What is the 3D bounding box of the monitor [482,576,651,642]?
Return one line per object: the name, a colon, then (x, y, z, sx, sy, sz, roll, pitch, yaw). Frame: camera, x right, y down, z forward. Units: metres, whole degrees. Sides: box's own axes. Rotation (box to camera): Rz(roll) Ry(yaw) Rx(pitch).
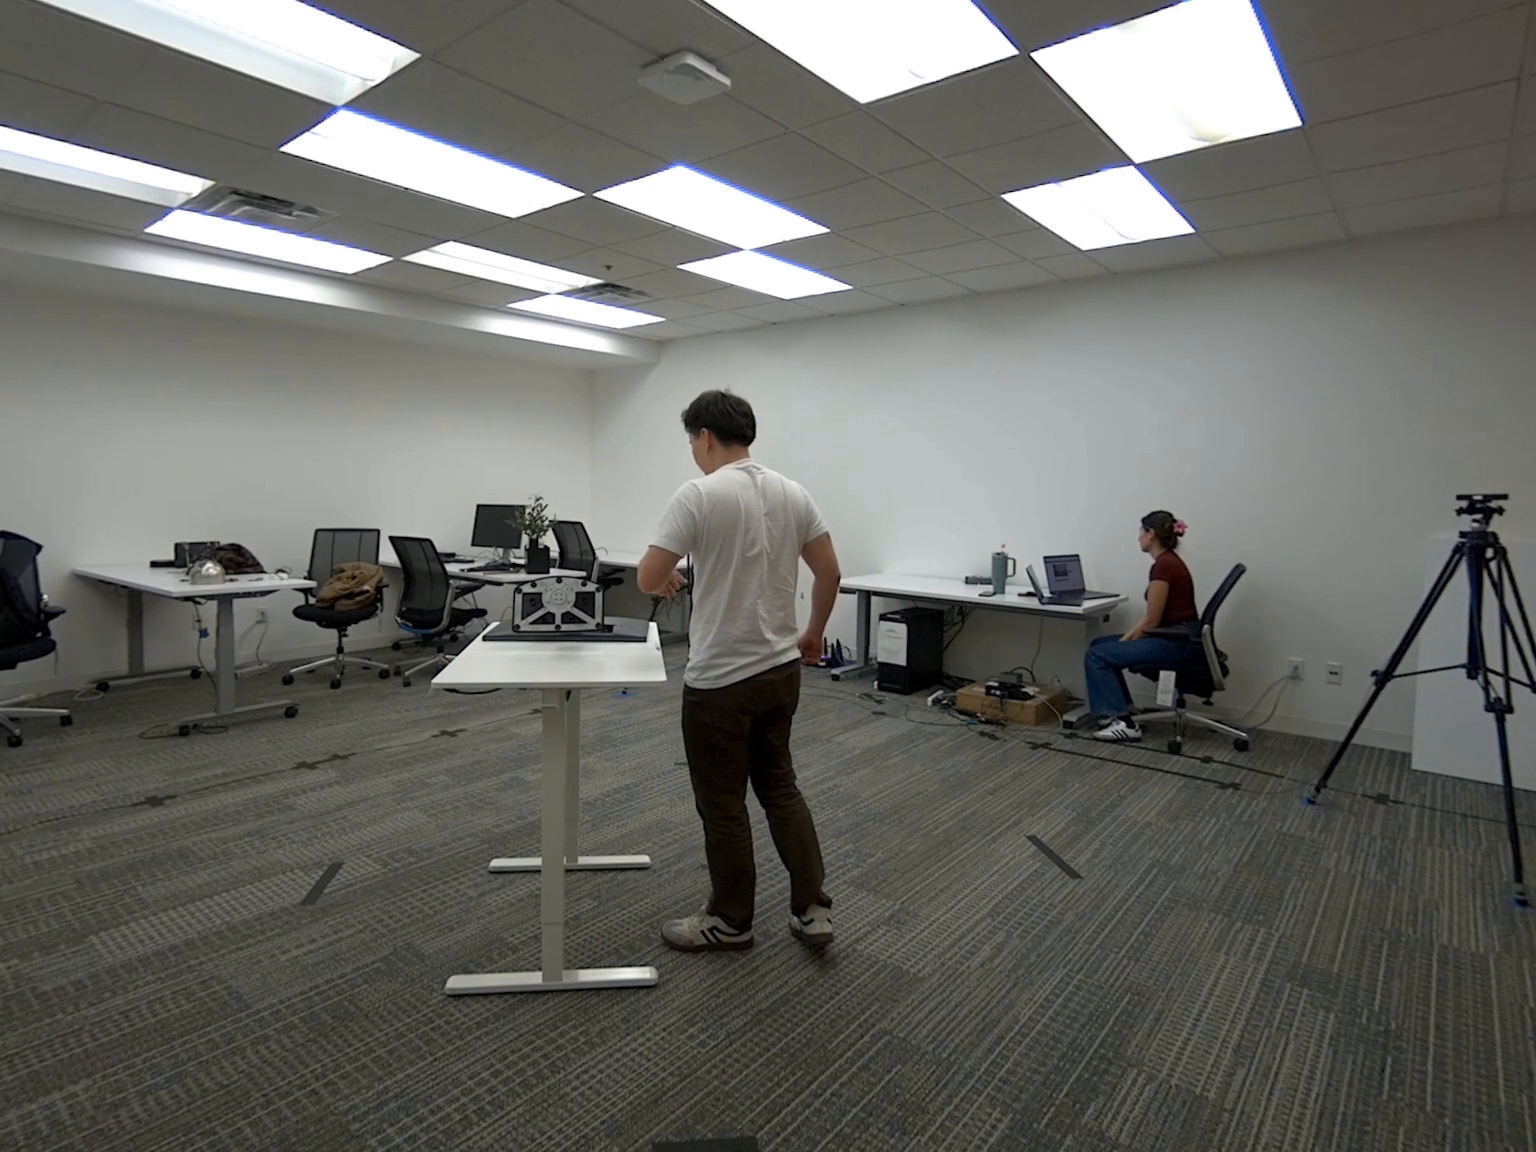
monitor: (-0.695, 0.142, 2.864, 0.537, 0.189, 0.518, 2, -12, -4)
